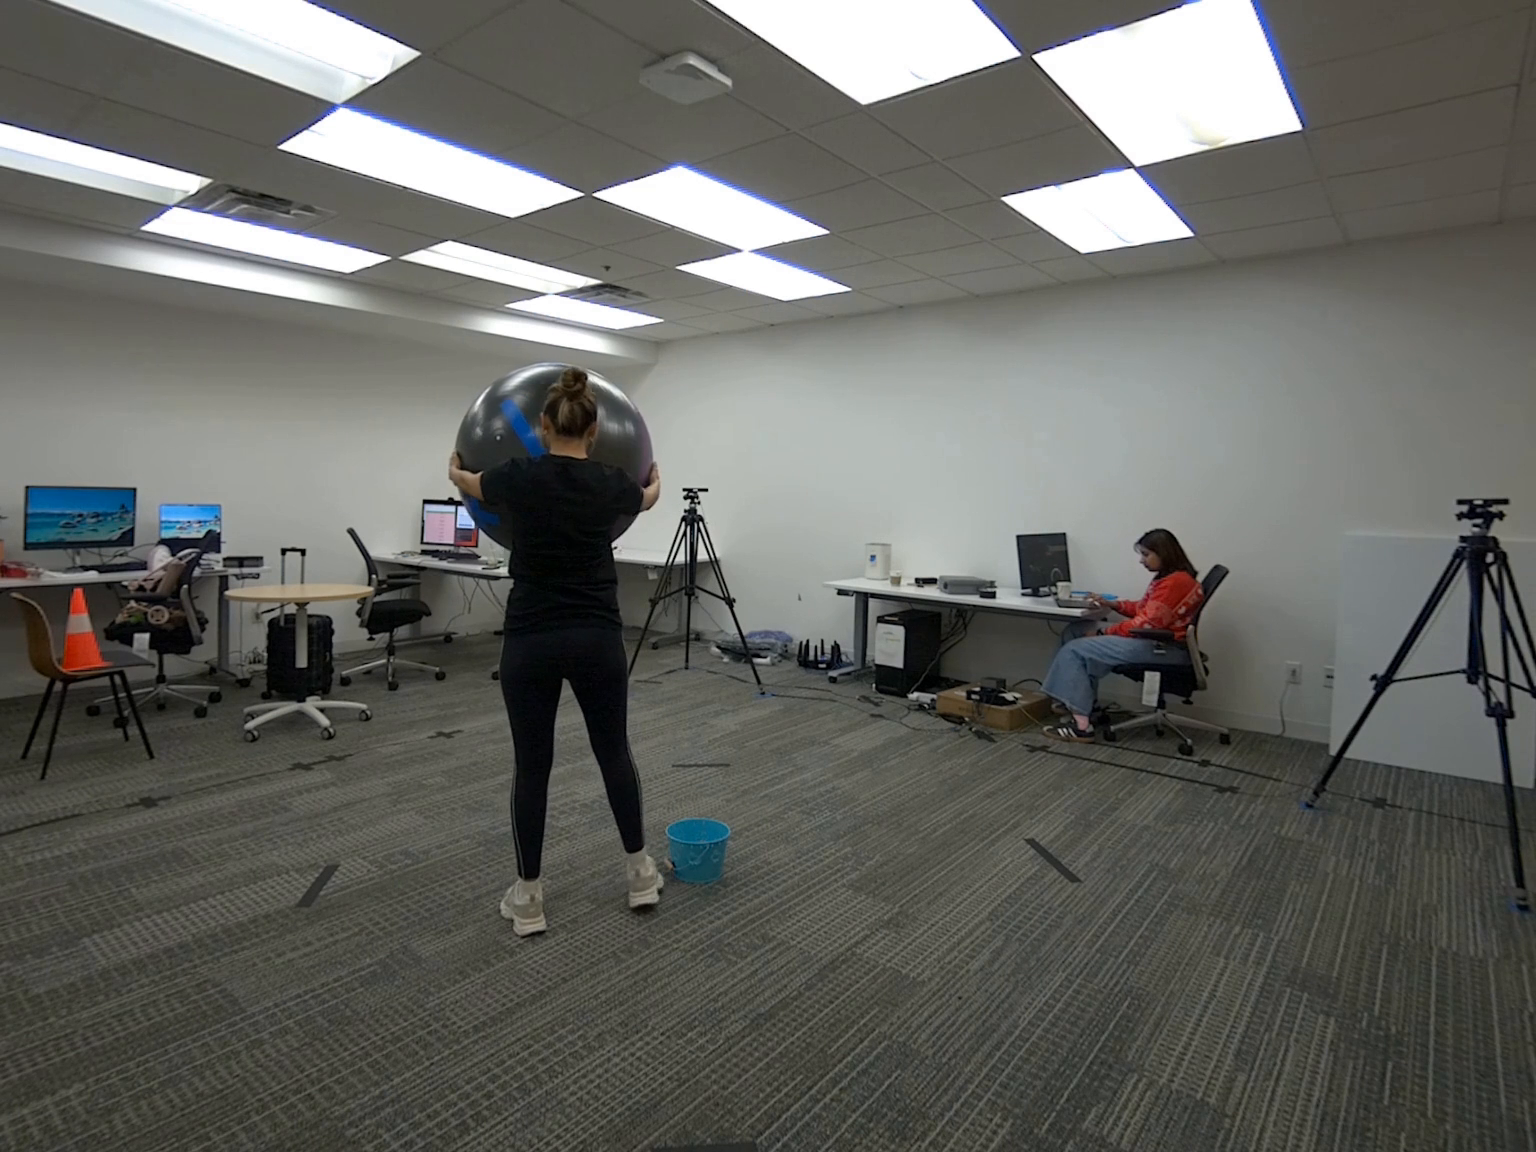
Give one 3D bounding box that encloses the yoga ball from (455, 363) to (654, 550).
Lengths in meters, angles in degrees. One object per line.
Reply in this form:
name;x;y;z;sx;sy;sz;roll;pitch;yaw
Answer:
yoga ball;-0.831;-0.428;3.284;0.757;0.756;0.762;1;4;-2
